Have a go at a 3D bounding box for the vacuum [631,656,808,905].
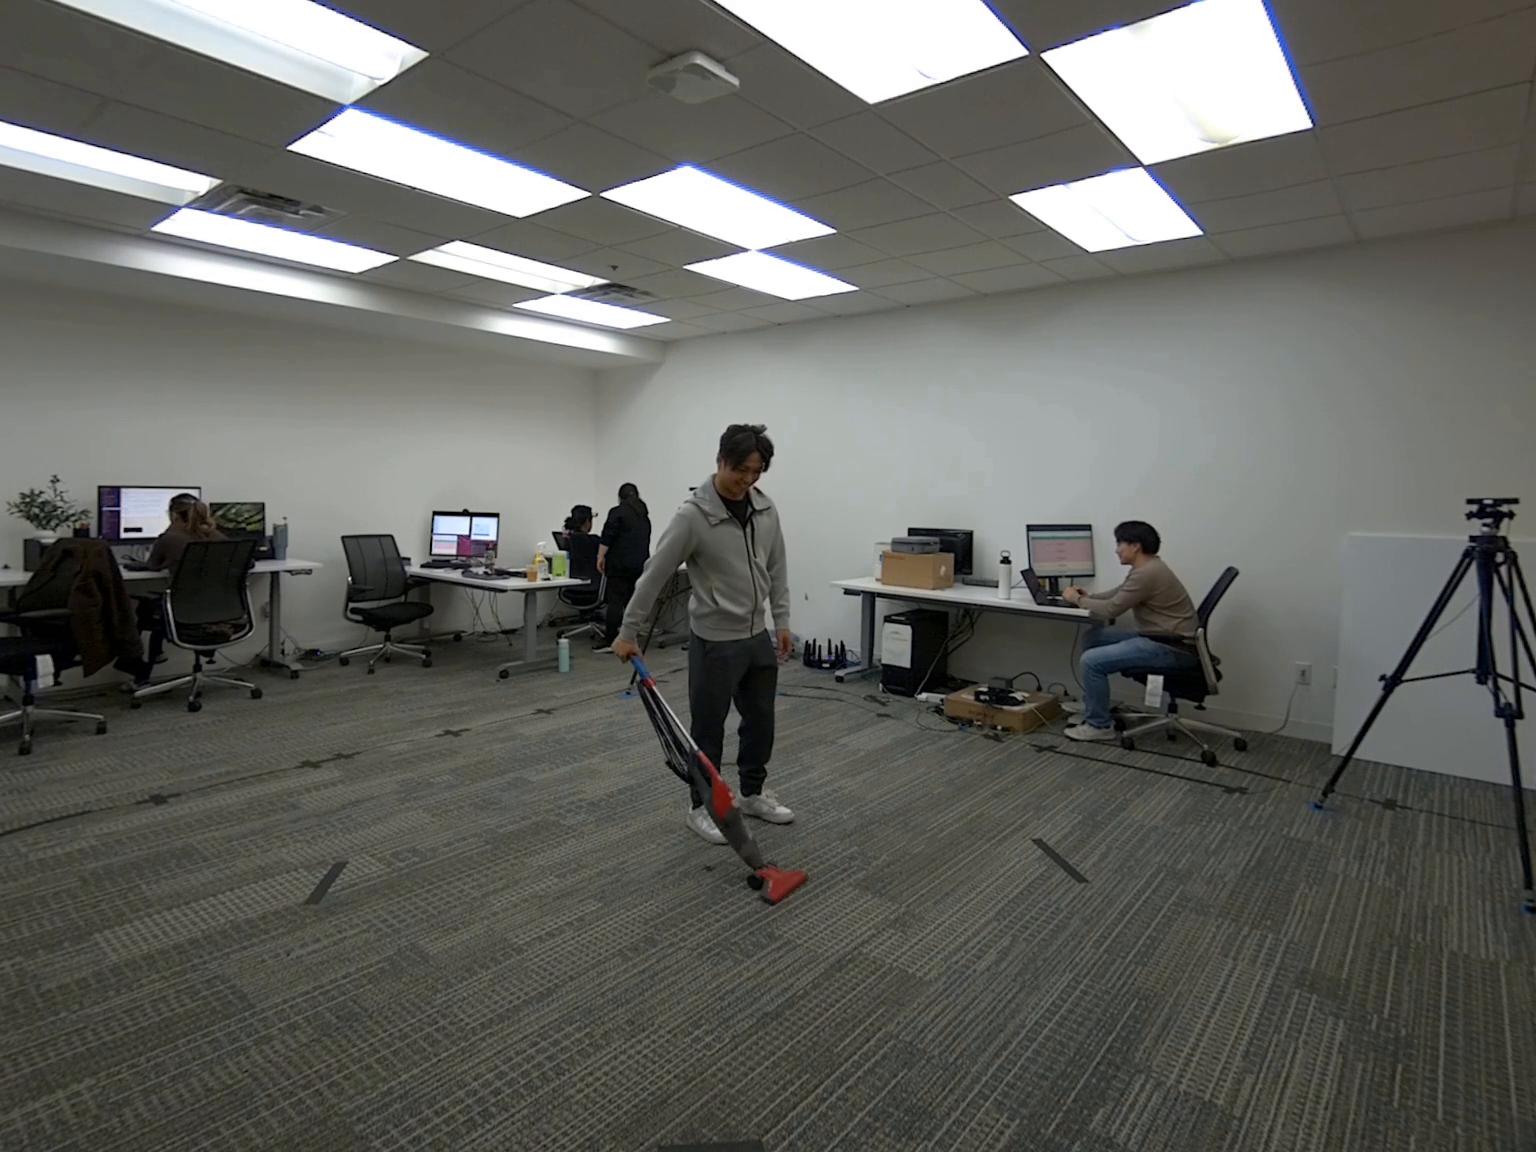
[{"bbox_3d":[-0.281,0.679,3.168,1.079,0.144,0.245,51,22,21],"label":"vacuum"}]
